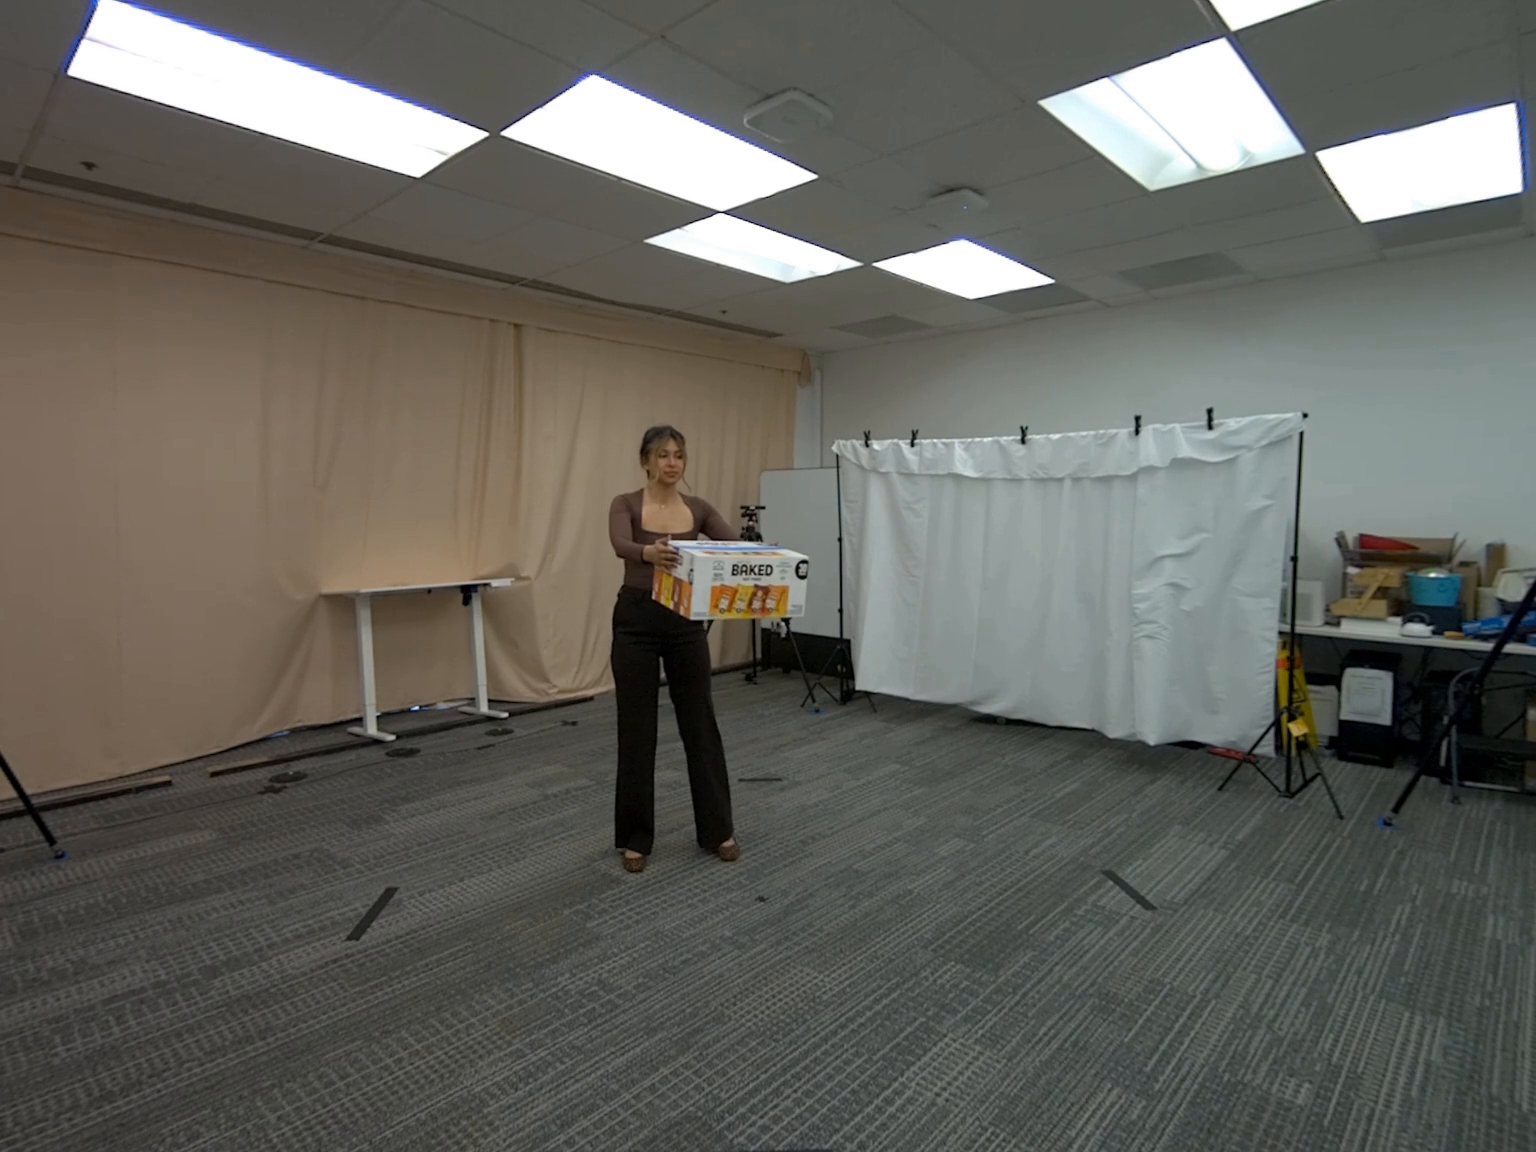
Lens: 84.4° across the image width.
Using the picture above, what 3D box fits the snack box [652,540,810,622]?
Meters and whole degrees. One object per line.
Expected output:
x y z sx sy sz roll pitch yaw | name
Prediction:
-0.127 0.010 2.798 0.395 0.205 0.350 0 9 -27 | snack box
